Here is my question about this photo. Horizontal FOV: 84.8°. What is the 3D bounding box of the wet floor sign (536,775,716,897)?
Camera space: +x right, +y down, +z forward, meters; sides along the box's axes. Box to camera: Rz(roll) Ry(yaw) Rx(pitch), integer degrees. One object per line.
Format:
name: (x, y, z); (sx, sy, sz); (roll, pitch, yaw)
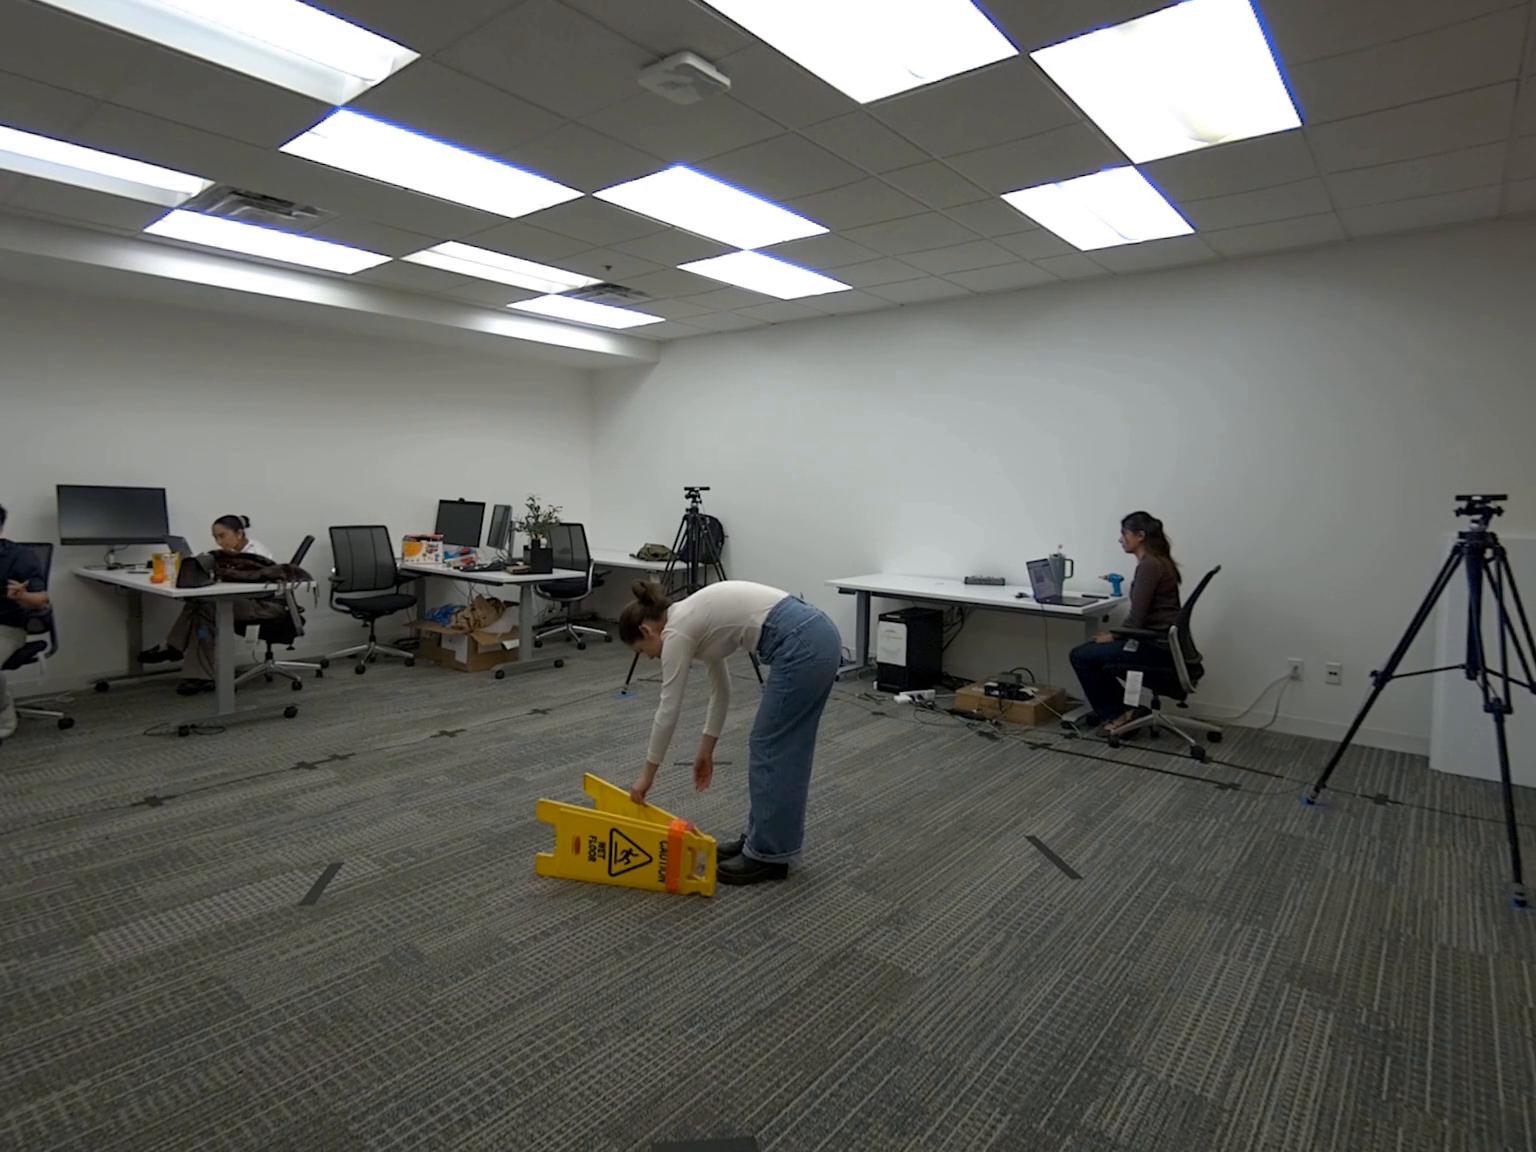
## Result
wet floor sign: (-0.482, 0.939, 3.010); (0.663, 0.280, 0.284); (7, 10, 24)
